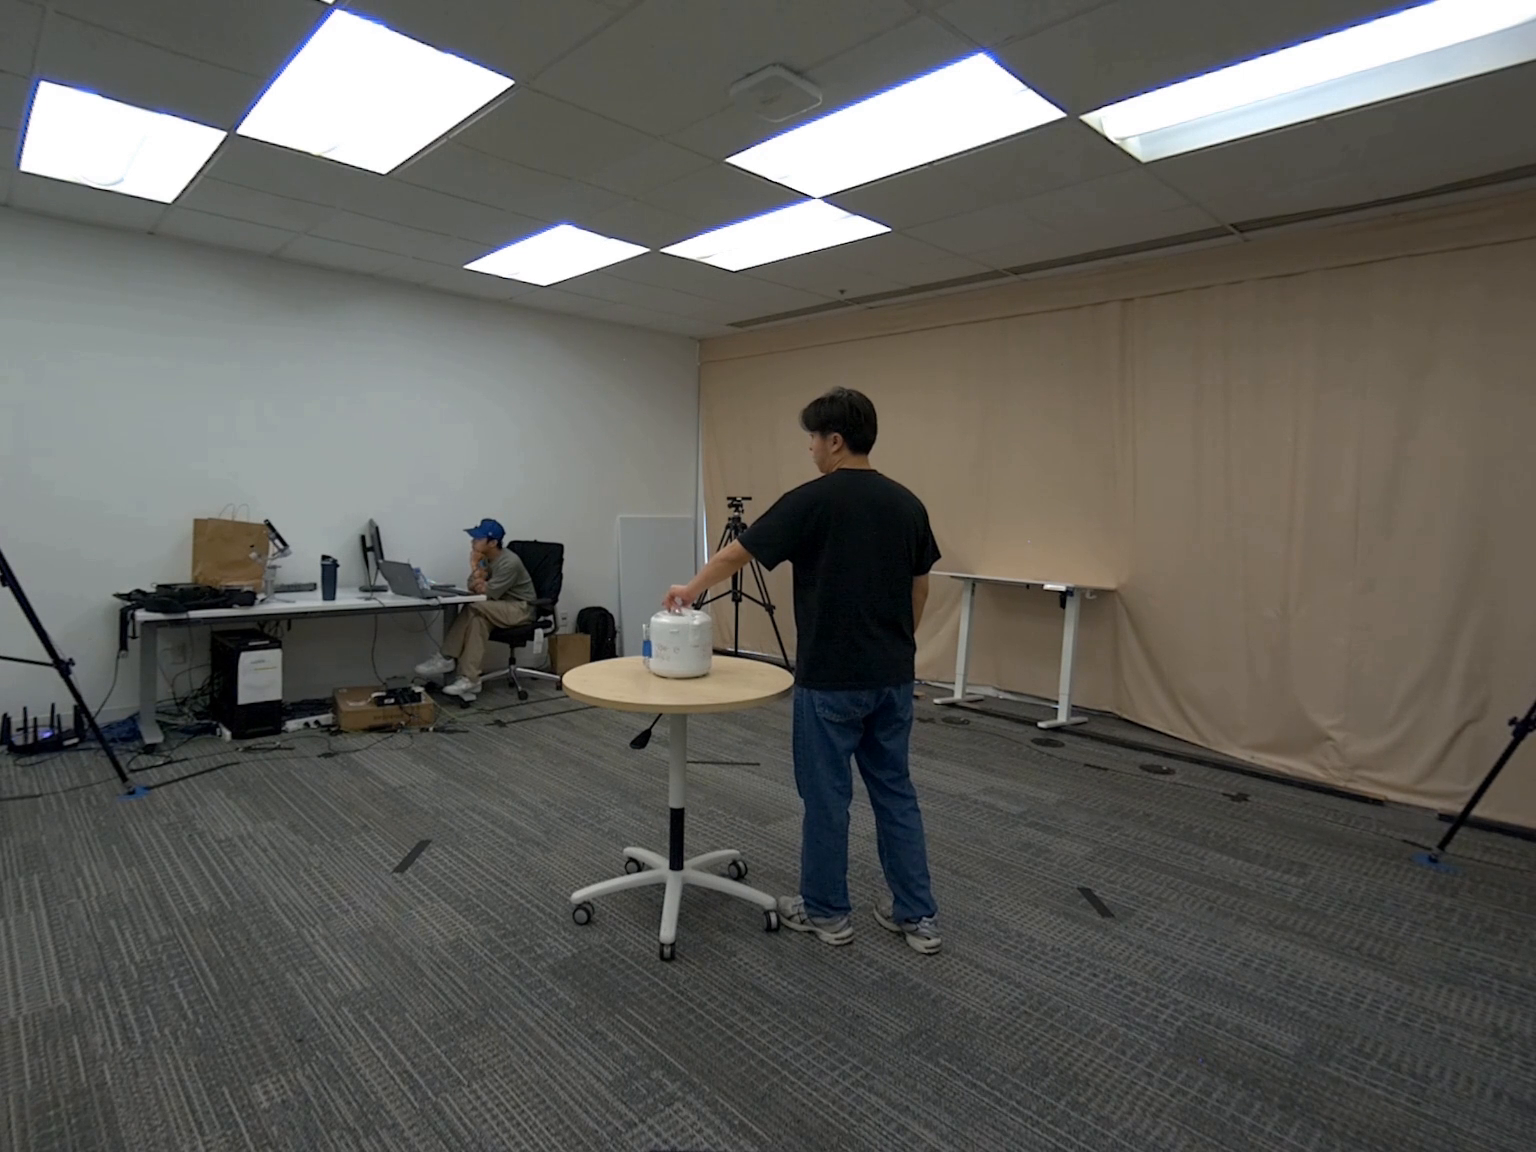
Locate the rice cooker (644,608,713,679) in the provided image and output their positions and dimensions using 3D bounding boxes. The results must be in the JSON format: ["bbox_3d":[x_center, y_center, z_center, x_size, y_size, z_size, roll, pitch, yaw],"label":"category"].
[{"bbox_3d":[-0.300,0.216,2.839,0.213,0.232,0.226,-4,7,-31],"label":"rice cooker"}]
